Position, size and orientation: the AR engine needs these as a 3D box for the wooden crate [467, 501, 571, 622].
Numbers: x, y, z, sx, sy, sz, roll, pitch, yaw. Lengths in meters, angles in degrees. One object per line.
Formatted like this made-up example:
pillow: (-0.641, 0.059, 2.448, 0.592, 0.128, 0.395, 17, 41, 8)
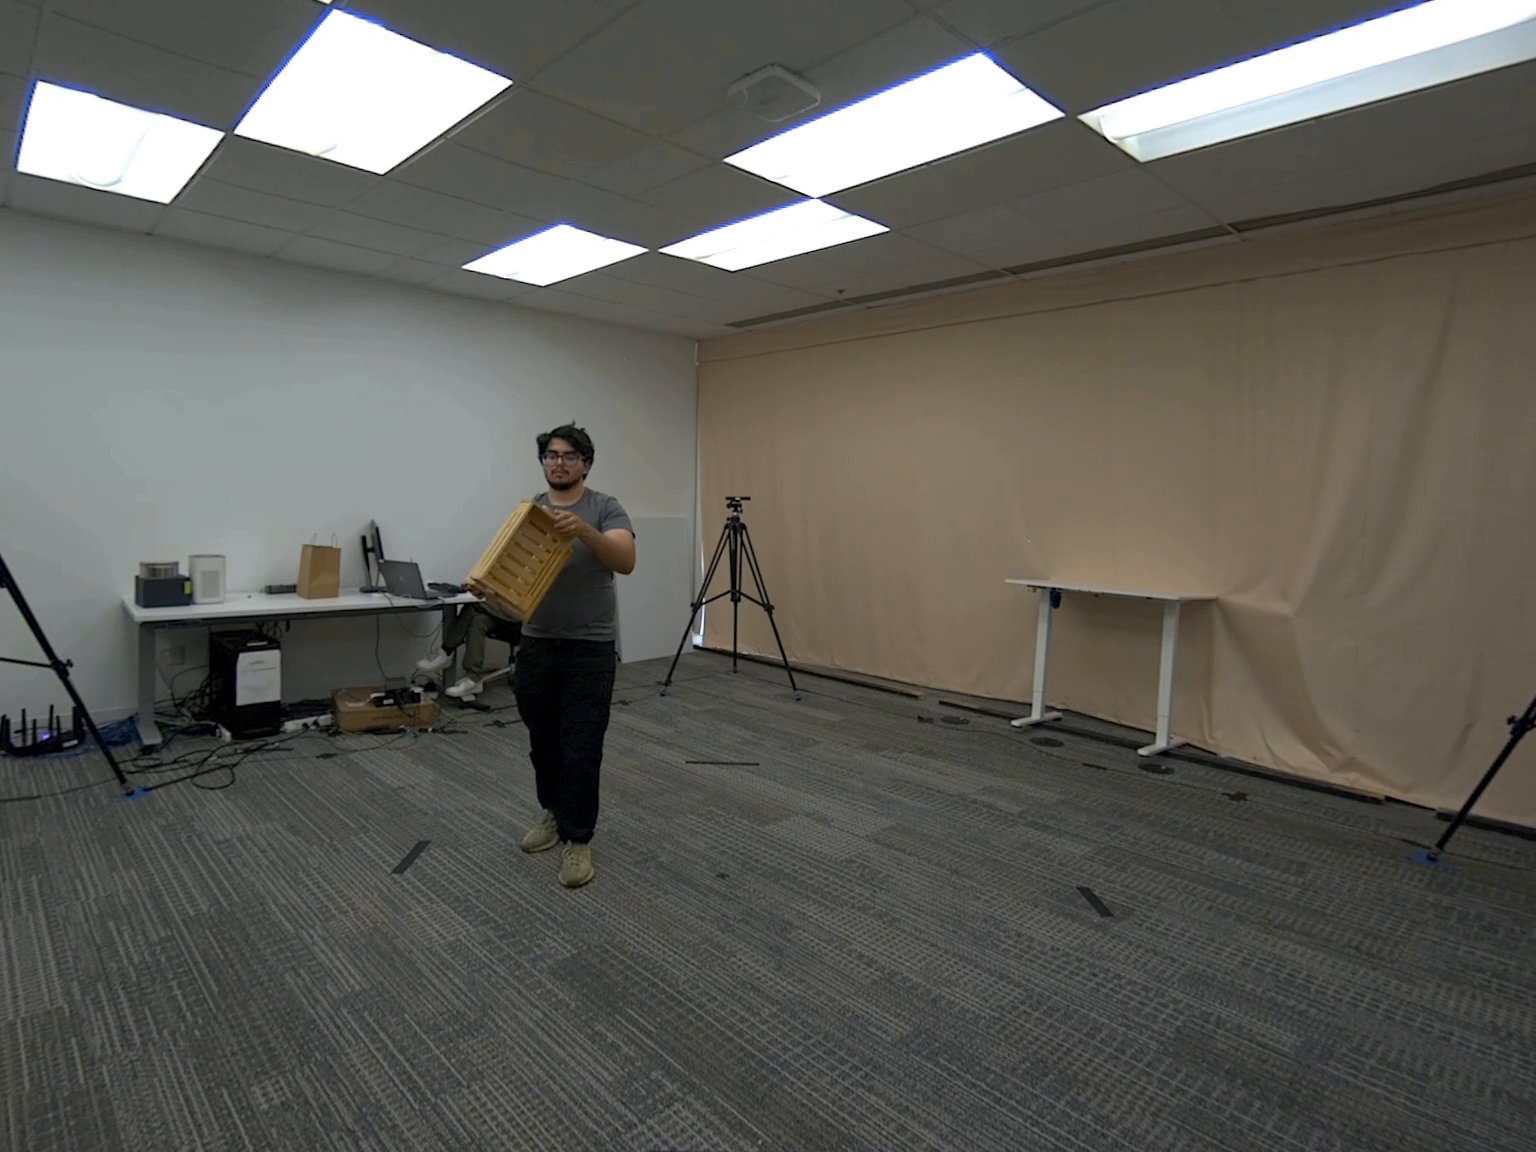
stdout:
wooden crate: (-0.806, -0.041, 2.782, 0.293, 0.326, 0.280, 40, -21, -32)
